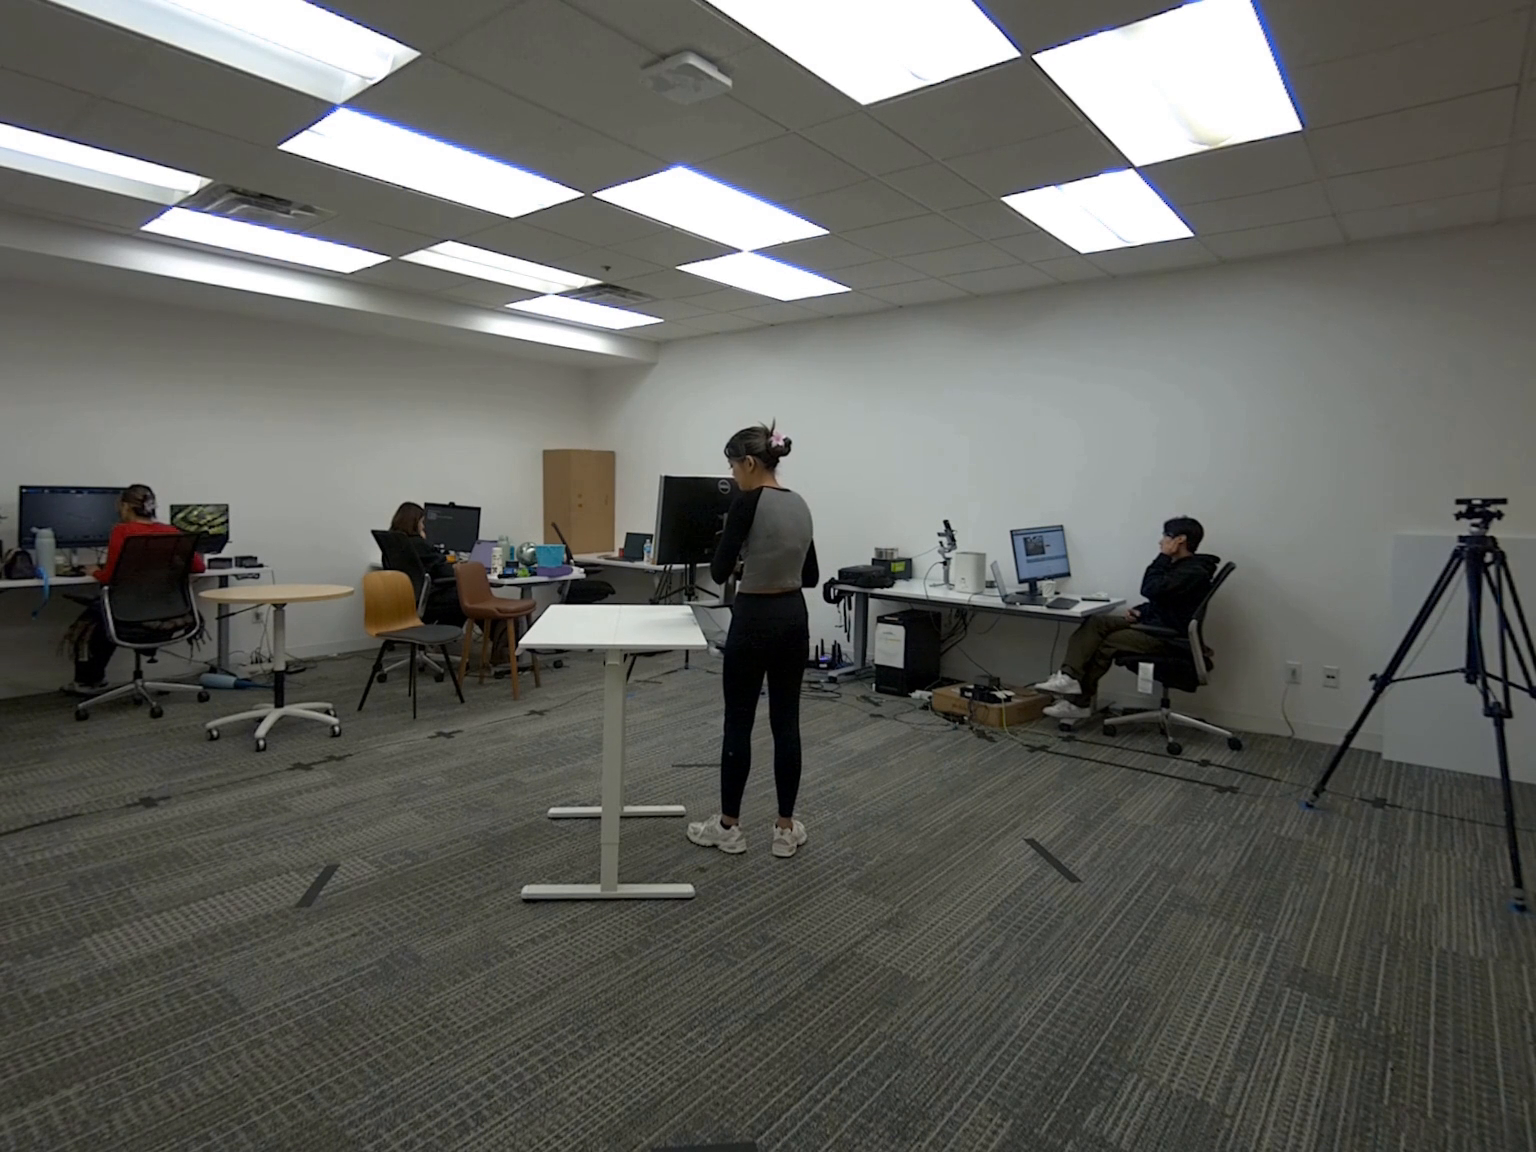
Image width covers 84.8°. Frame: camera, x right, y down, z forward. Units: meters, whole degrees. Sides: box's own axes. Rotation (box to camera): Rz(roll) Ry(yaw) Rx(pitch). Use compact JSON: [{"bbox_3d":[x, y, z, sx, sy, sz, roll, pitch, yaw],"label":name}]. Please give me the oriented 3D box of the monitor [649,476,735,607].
[{"bbox_3d":[-0.203,-0.144,3.462,0.523,0.522,0.193,-2,1,-37],"label":"monitor"}]
